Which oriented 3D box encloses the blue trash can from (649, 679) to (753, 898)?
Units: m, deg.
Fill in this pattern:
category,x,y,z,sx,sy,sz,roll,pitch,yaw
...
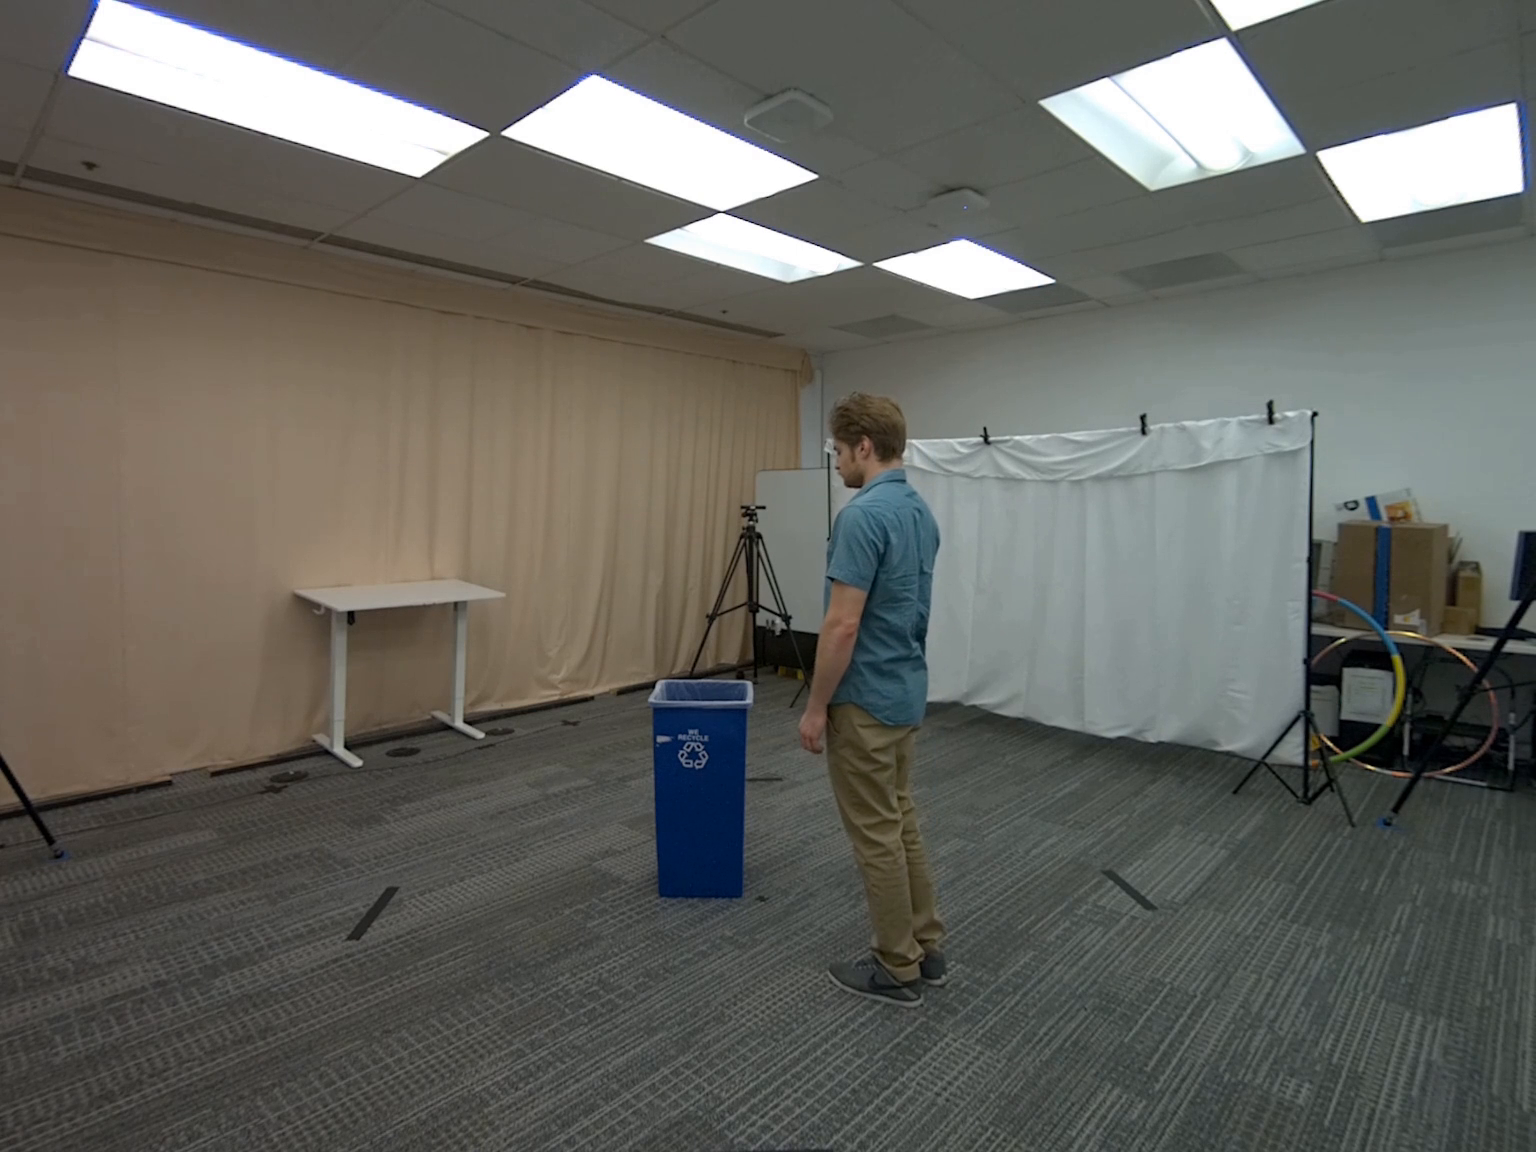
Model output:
category,x,y,z,sx,sy,sz,roll,pitch,yaw
blue trash can,-0.241,0.779,3.112,0.378,0.712,0.374,0,3,0
